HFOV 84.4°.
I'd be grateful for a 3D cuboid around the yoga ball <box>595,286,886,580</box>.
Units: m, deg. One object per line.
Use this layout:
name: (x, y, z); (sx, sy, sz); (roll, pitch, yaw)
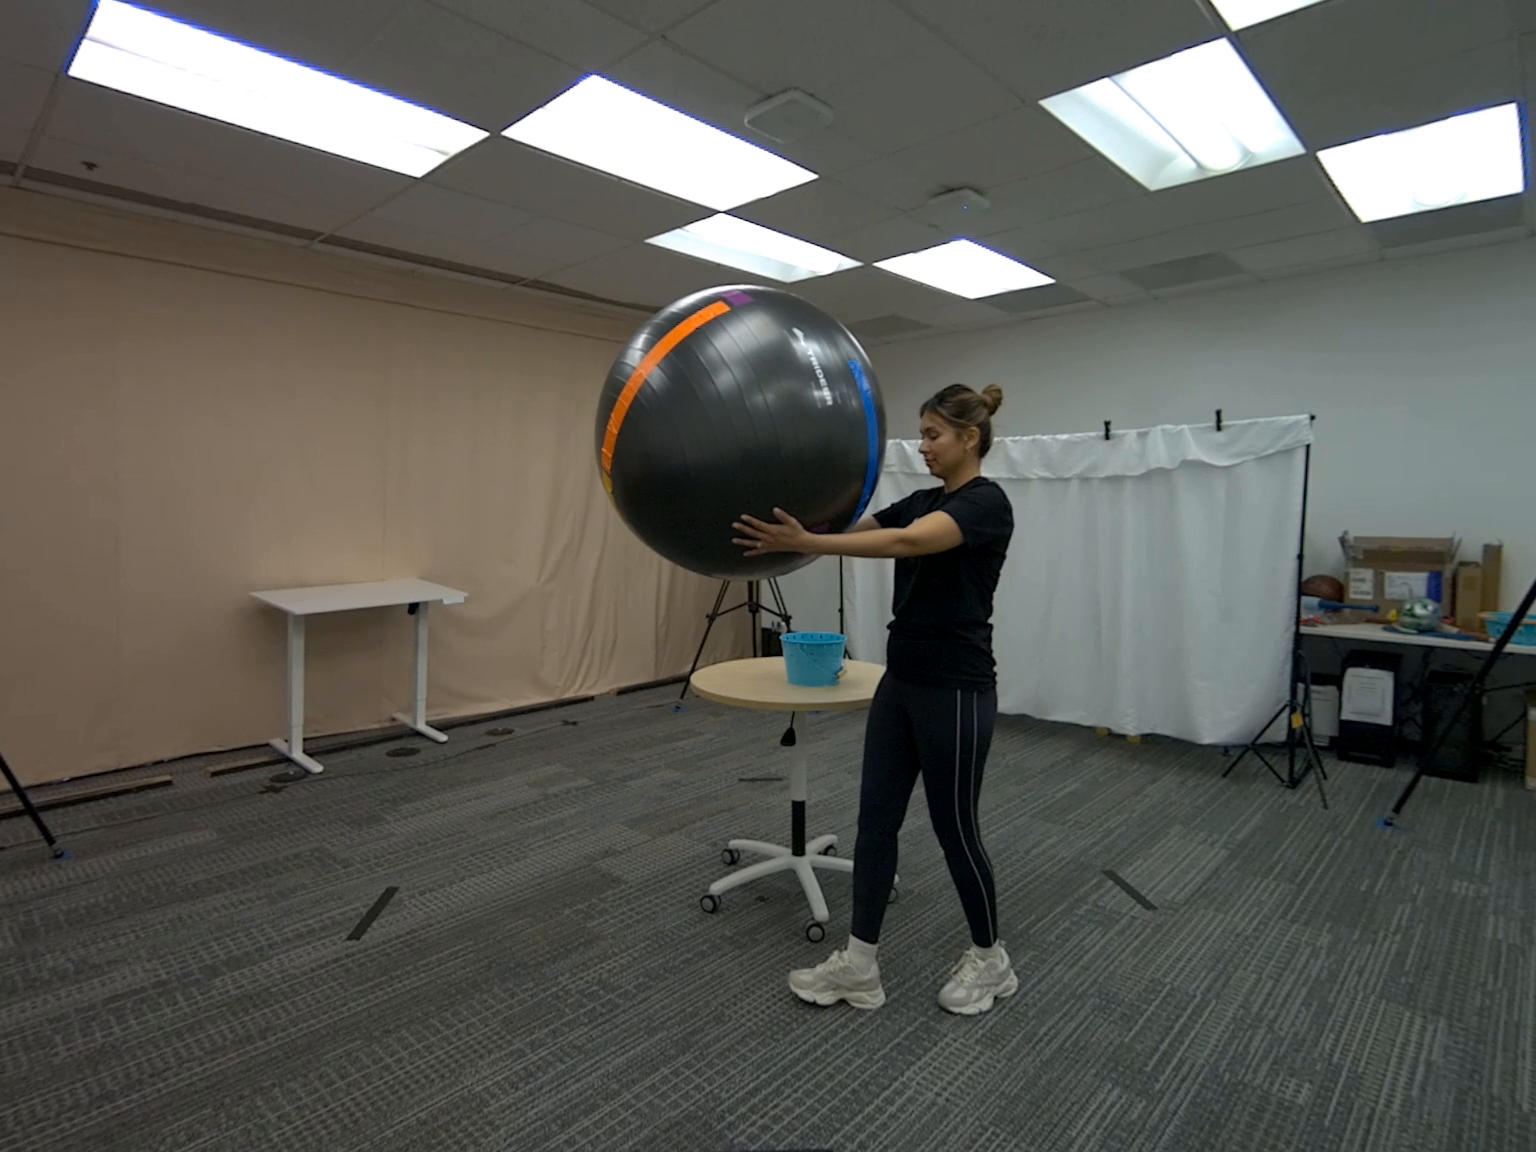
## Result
yoga ball: (-0.071, -0.364, 2.206); (0.757, 0.756, 0.761); (0, 4, -2)
